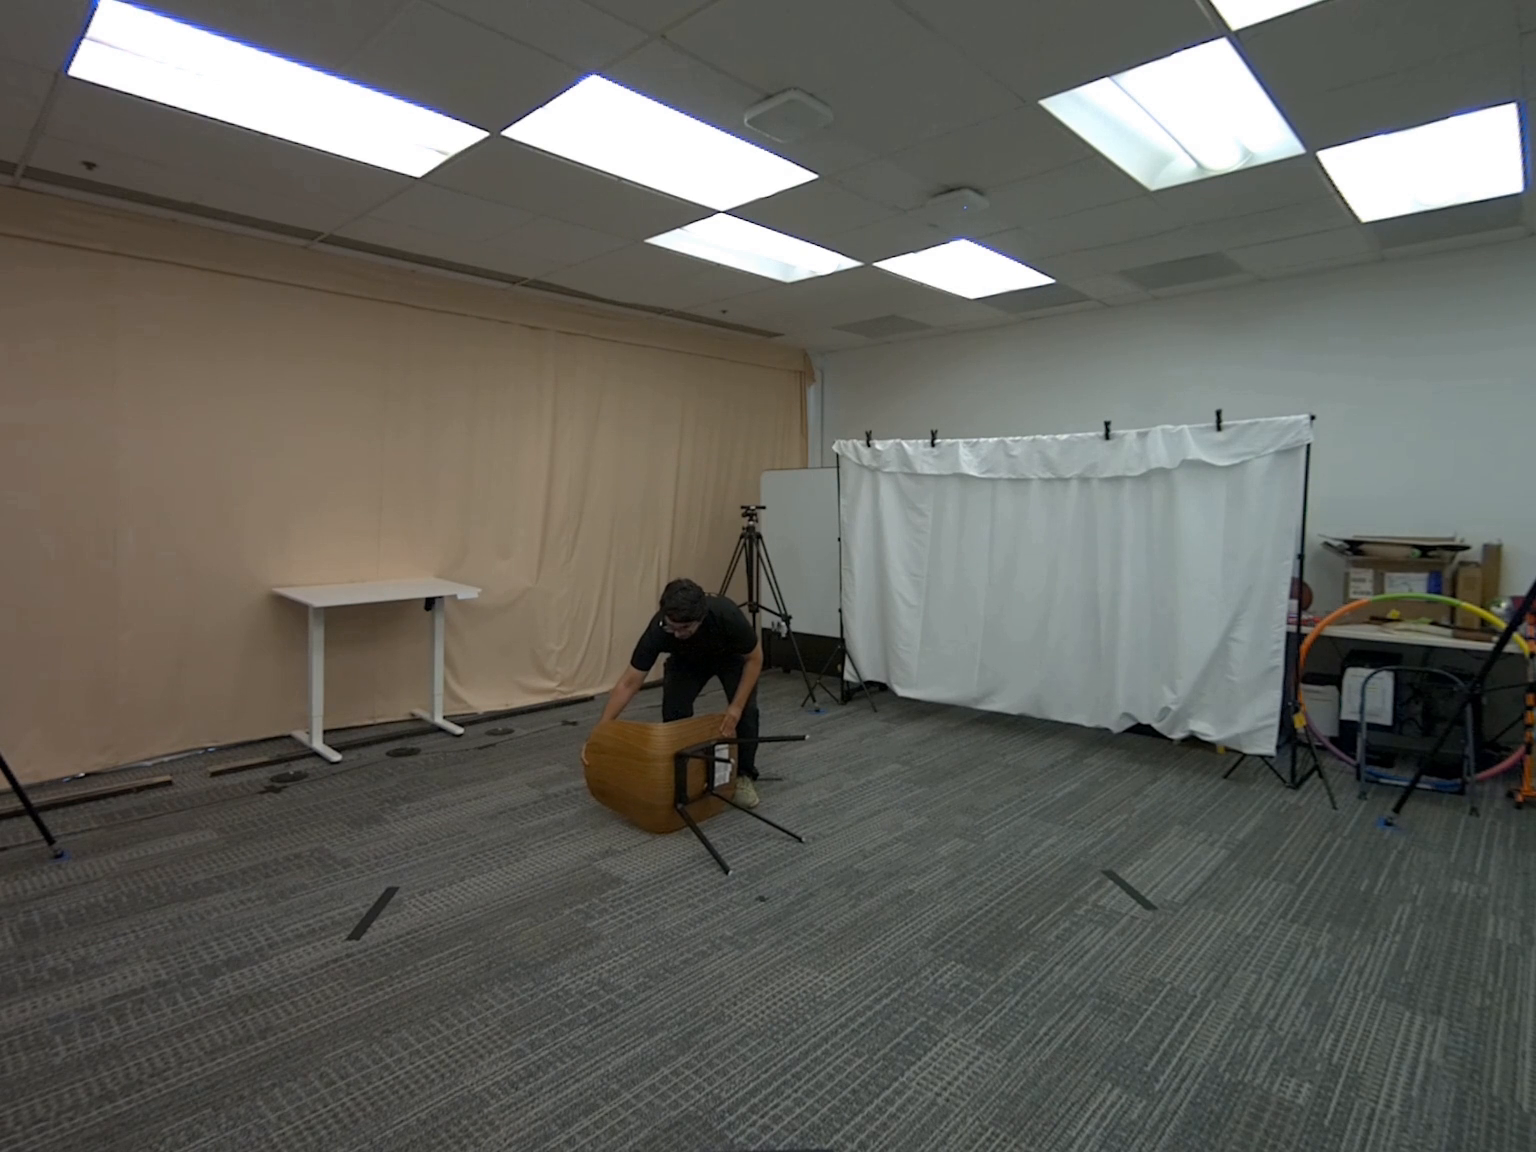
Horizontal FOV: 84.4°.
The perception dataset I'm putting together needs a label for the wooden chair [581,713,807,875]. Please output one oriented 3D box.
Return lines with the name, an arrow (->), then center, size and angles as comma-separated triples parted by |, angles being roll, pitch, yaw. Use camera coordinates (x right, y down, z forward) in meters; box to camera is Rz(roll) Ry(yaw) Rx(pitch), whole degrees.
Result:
wooden chair -> -0.305, 0.851, 3.612 | 0.906, 0.477, 0.507 | 5, 6, 38
